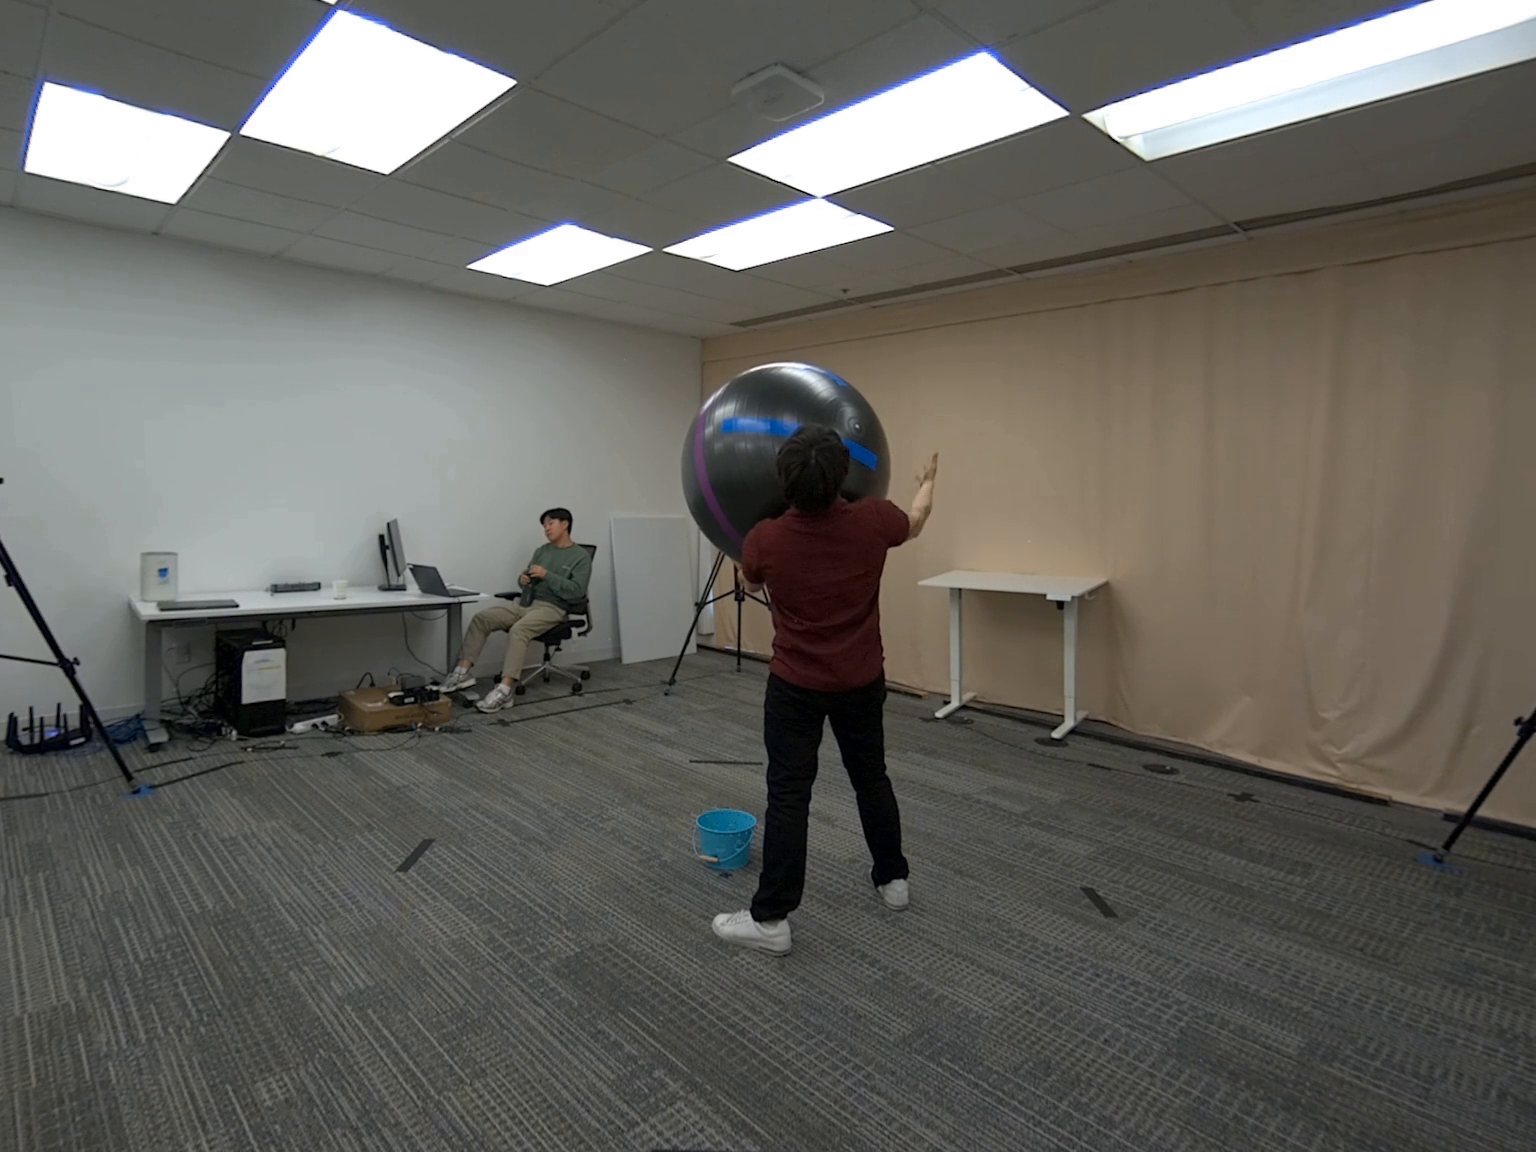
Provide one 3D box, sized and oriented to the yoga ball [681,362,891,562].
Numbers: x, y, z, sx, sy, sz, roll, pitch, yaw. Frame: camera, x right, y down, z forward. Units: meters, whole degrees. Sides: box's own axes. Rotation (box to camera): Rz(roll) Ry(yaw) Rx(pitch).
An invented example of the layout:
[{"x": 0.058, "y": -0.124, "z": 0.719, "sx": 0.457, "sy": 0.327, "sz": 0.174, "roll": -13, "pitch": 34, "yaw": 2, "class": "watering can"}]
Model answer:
[{"x": 0.065, "y": -0.385, "z": 3.061, "sx": 0.757, "sy": 0.756, "sz": 0.761, "roll": 1, "pitch": 4, "yaw": -1, "class": "yoga ball"}]
